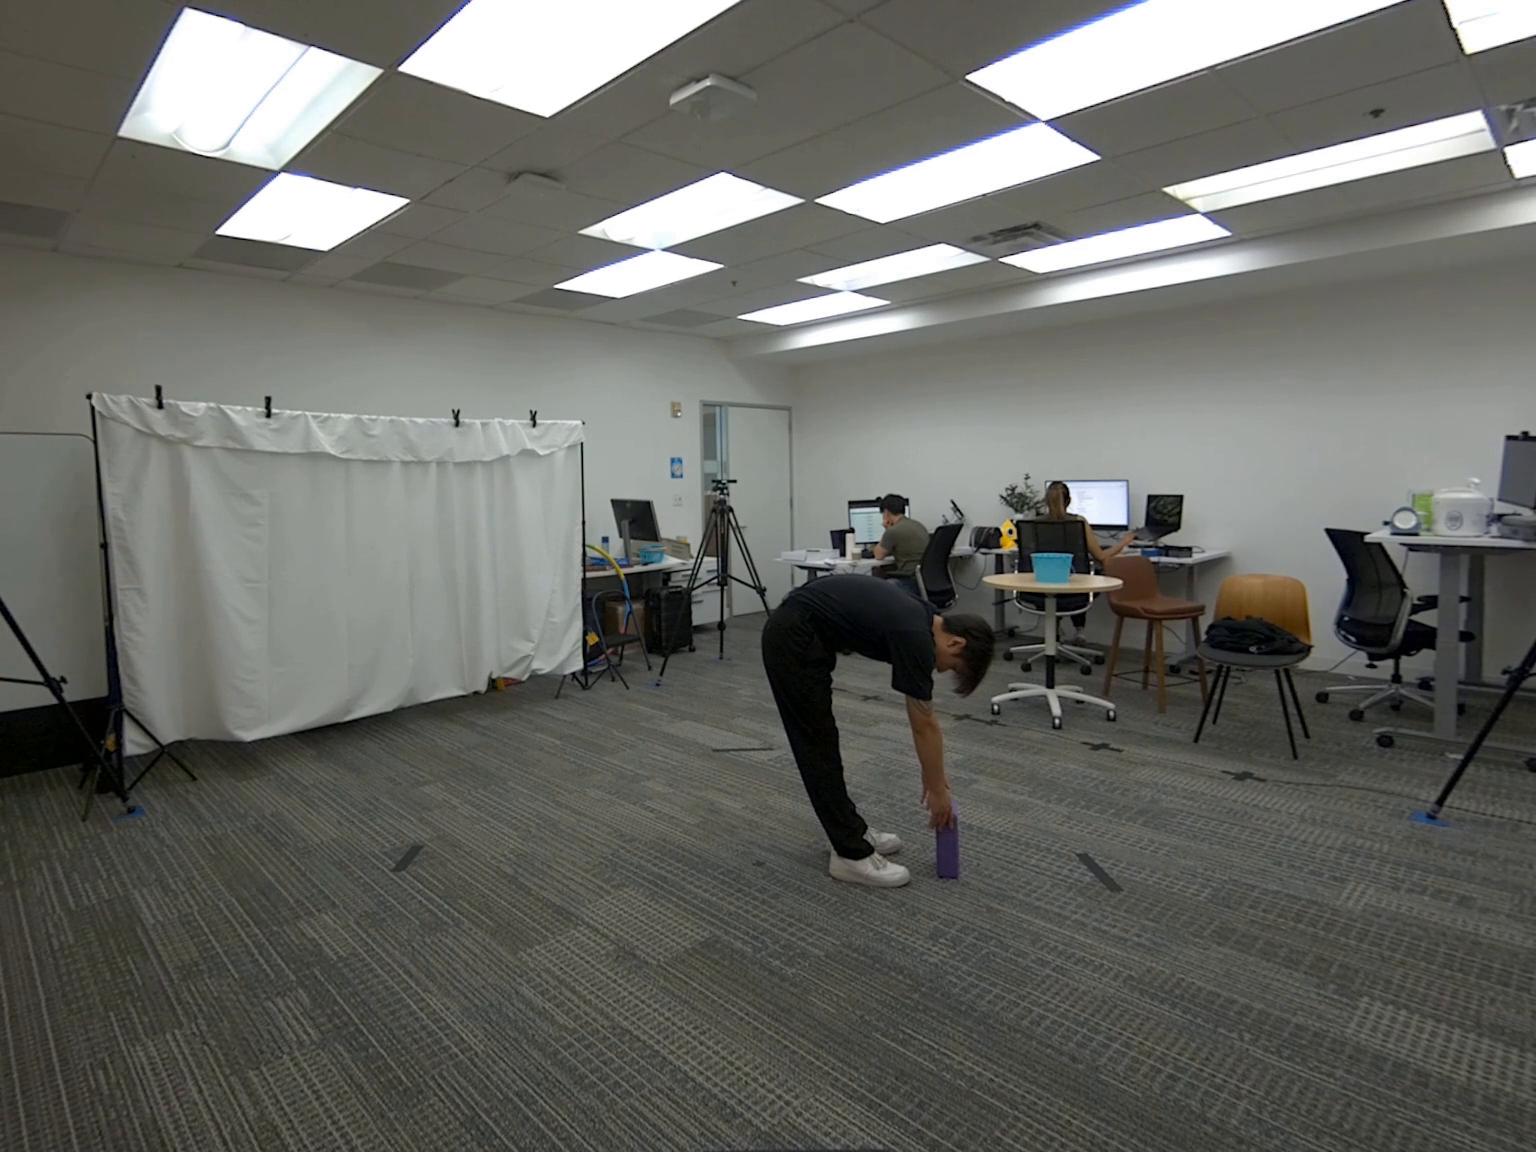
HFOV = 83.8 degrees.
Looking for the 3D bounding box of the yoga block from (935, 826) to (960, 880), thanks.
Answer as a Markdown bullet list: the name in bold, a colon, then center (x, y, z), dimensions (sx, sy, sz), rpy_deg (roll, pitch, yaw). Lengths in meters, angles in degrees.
- **yoga block**: center (0.631, 0.925, 3.024), dimensions (0.077, 0.228, 0.148), rpy_deg (0, 5, 9)
